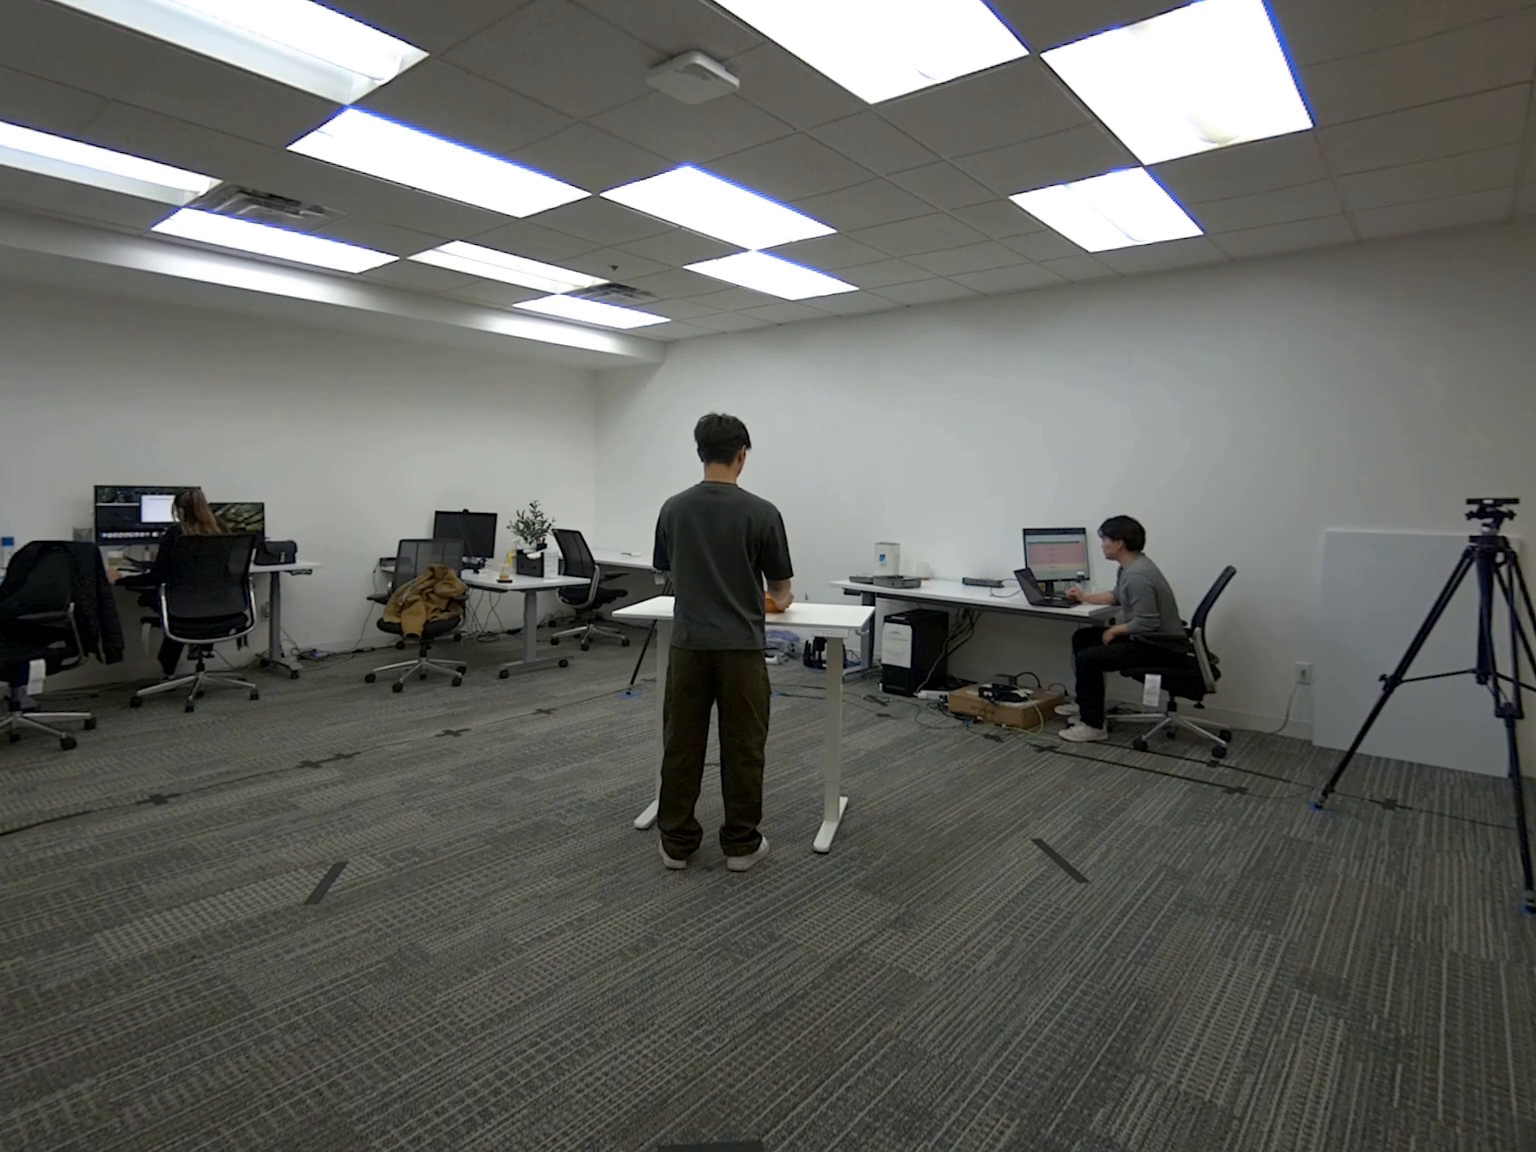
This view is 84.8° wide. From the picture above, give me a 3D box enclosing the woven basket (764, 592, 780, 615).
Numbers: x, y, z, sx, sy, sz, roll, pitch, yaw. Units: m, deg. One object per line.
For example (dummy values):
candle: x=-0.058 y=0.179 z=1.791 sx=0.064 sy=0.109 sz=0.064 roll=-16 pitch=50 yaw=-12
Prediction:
woven basket: x=-0.085 y=0.103 z=3.583 sx=0.358 sy=0.073 sz=0.247 roll=2 pitch=4 yaw=22
